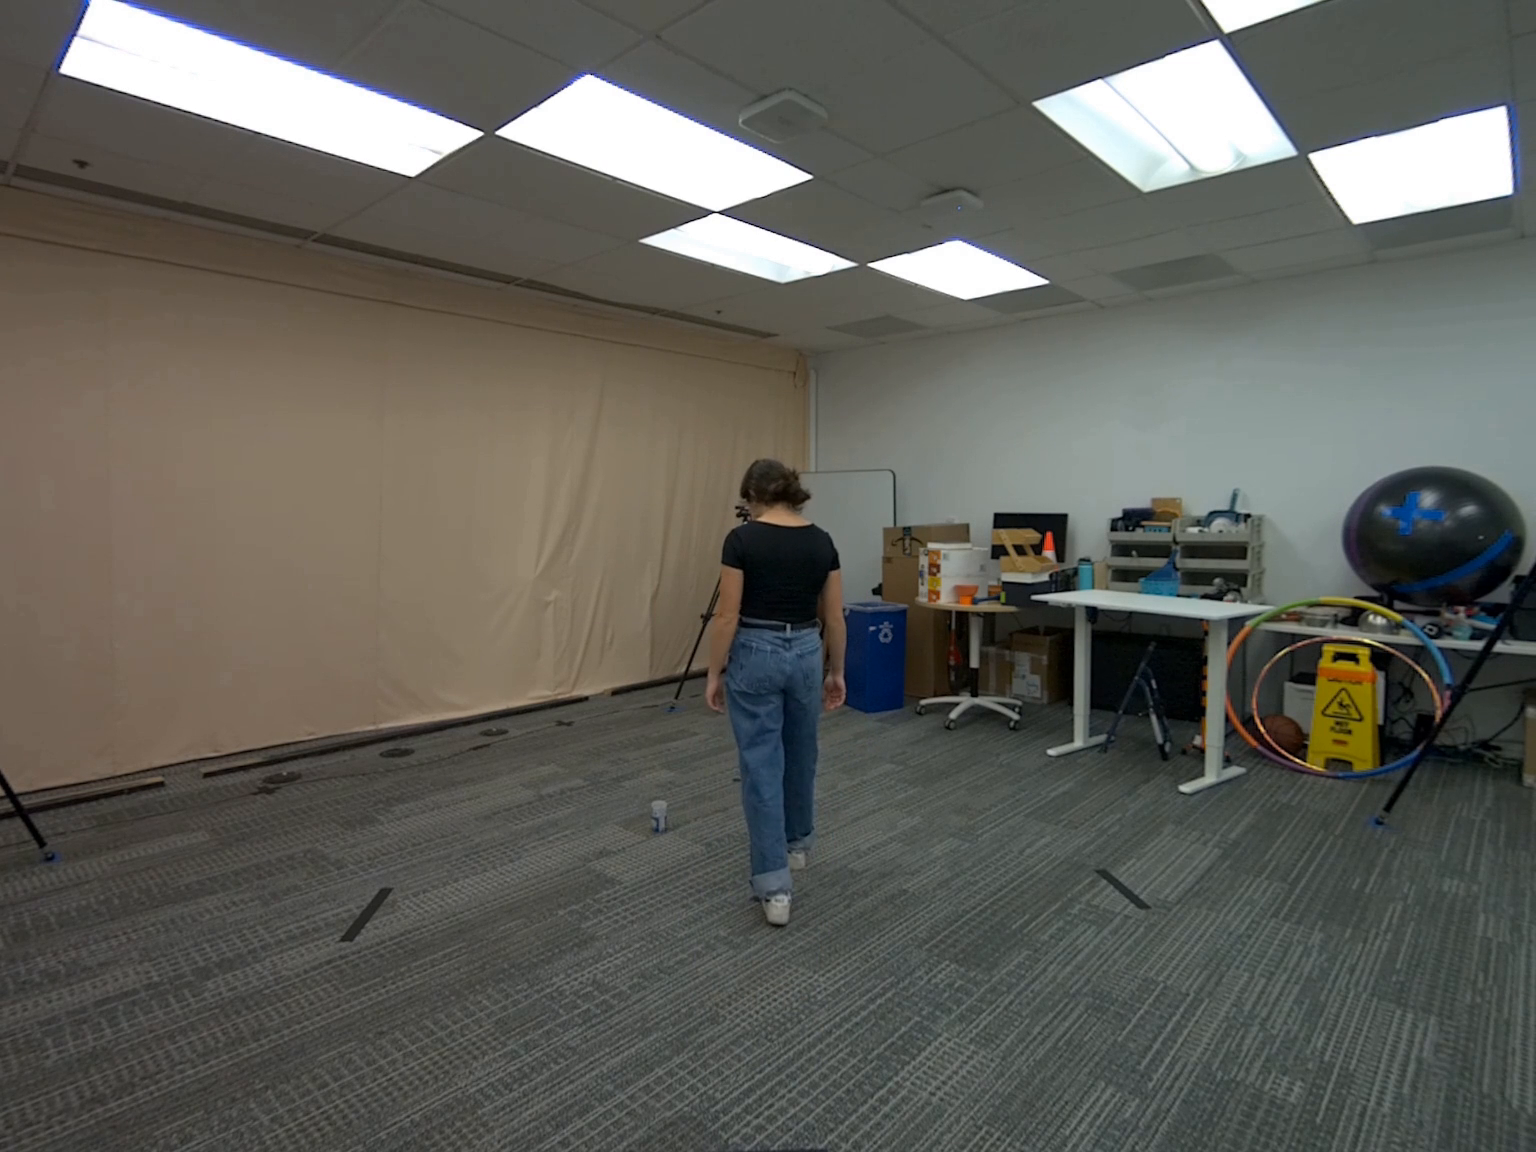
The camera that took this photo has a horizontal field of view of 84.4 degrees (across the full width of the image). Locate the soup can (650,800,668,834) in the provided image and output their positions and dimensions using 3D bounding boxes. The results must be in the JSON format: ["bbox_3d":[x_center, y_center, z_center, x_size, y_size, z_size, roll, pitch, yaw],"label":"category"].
[{"bbox_3d":[-0.469,1.033,3.625,0.067,0.121,0.067,1,2,-2],"label":"soup can"}]
